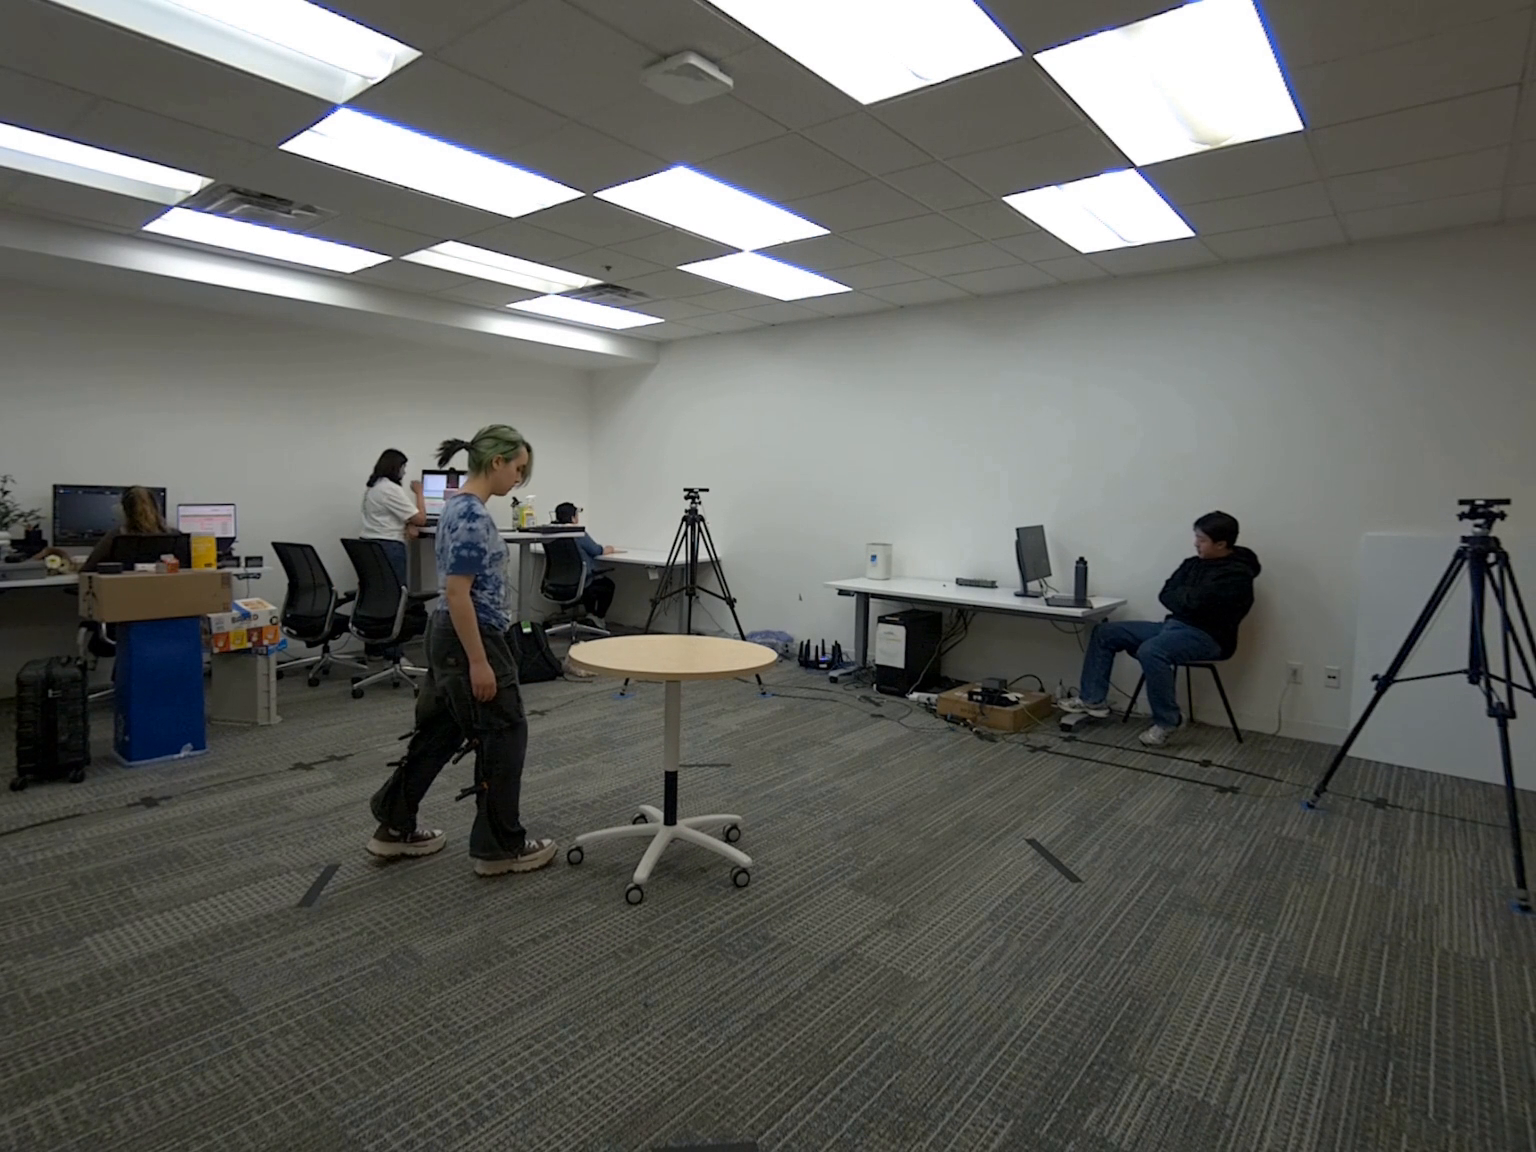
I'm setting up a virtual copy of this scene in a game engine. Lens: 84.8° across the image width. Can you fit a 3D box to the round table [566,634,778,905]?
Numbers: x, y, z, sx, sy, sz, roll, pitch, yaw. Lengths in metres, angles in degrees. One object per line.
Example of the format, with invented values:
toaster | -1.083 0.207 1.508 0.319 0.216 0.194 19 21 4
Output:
round table | -0.369 0.676 3.152 0.763 0.792 0.767 1 4 -2
